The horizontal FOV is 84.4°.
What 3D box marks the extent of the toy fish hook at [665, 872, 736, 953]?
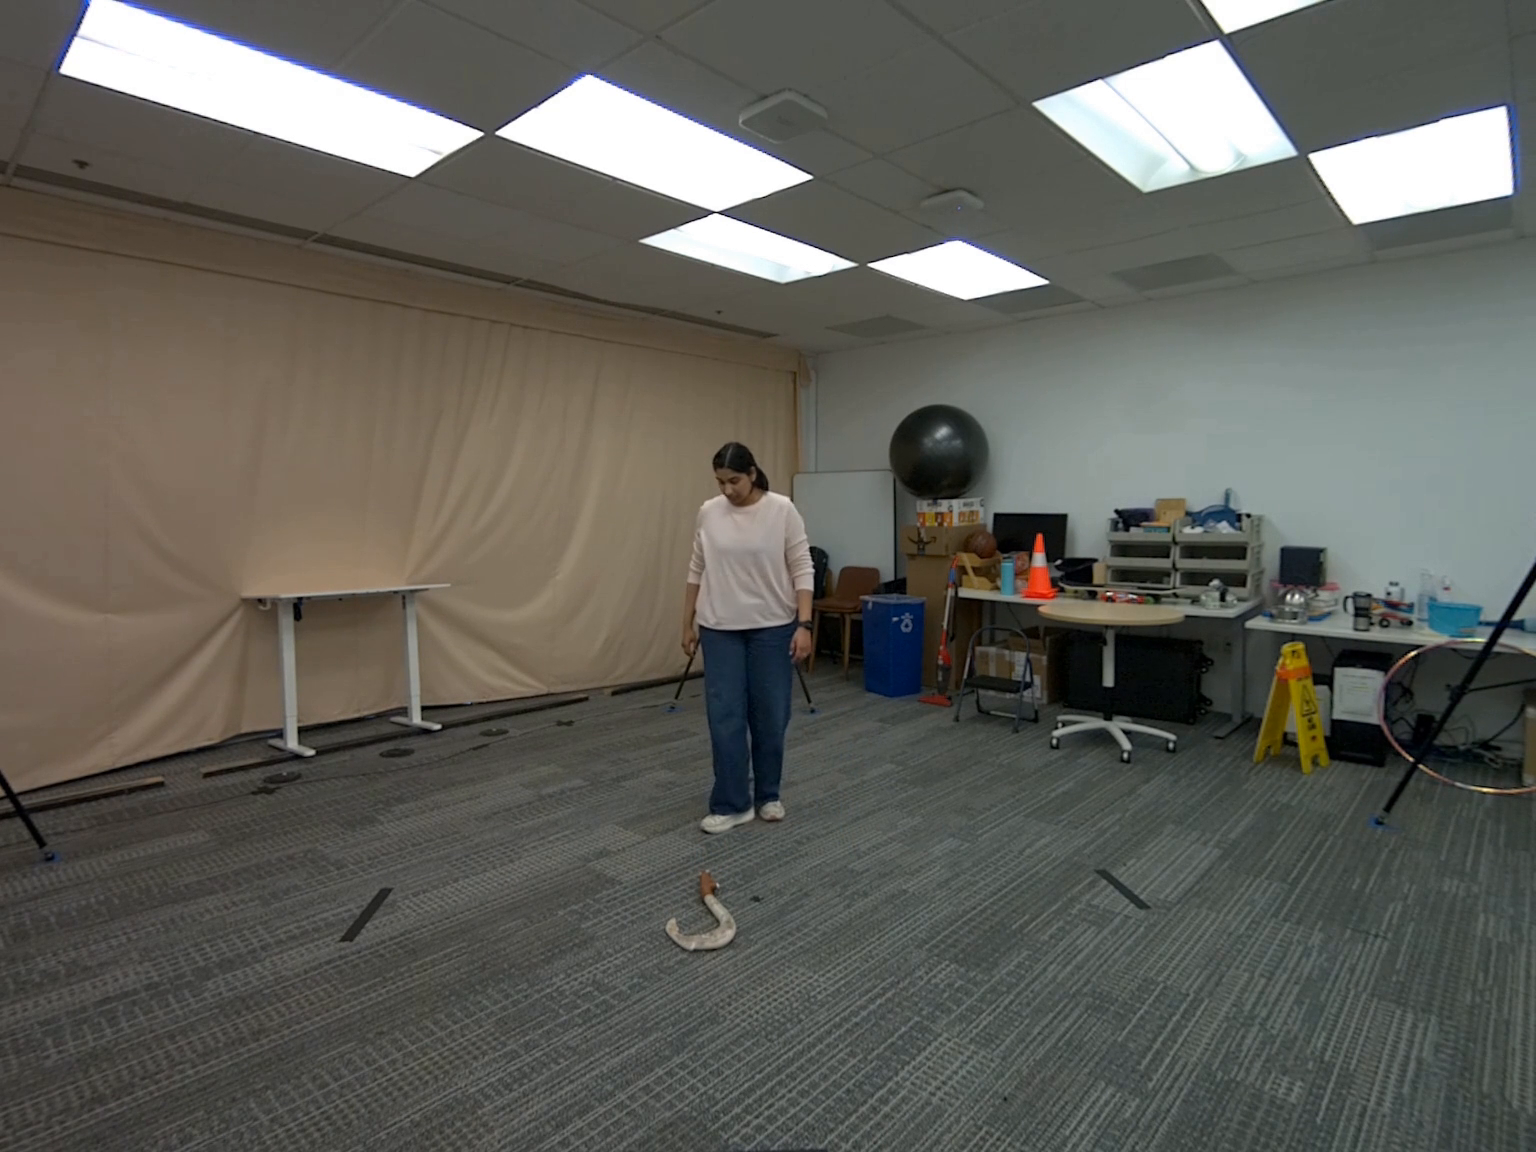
[{"bbox_3d":[-0.239,1.126,2.877,0.222,0.048,0.513,0,5,-10],"label":"toy fish hook"}]
